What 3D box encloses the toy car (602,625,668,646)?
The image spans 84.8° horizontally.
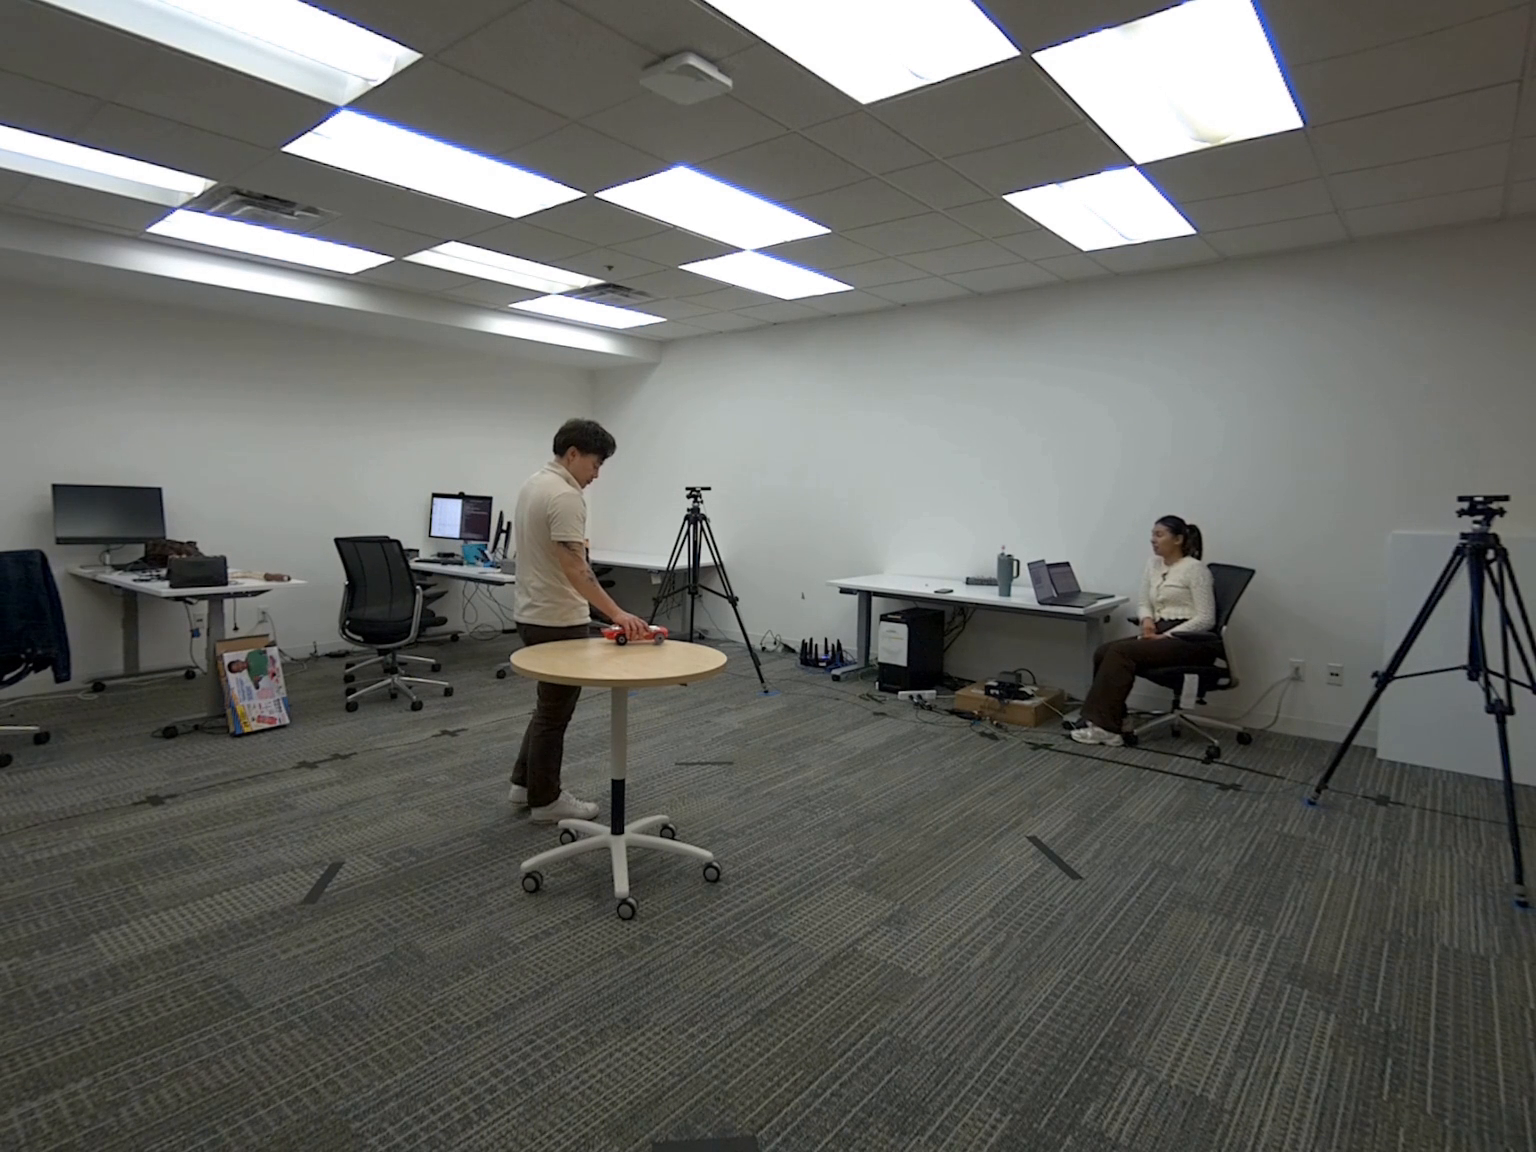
[{"bbox_3d":[-0.538,0.226,3.305,0.251,0.083,0.132,8,3,-11],"label":"toy car"}]
